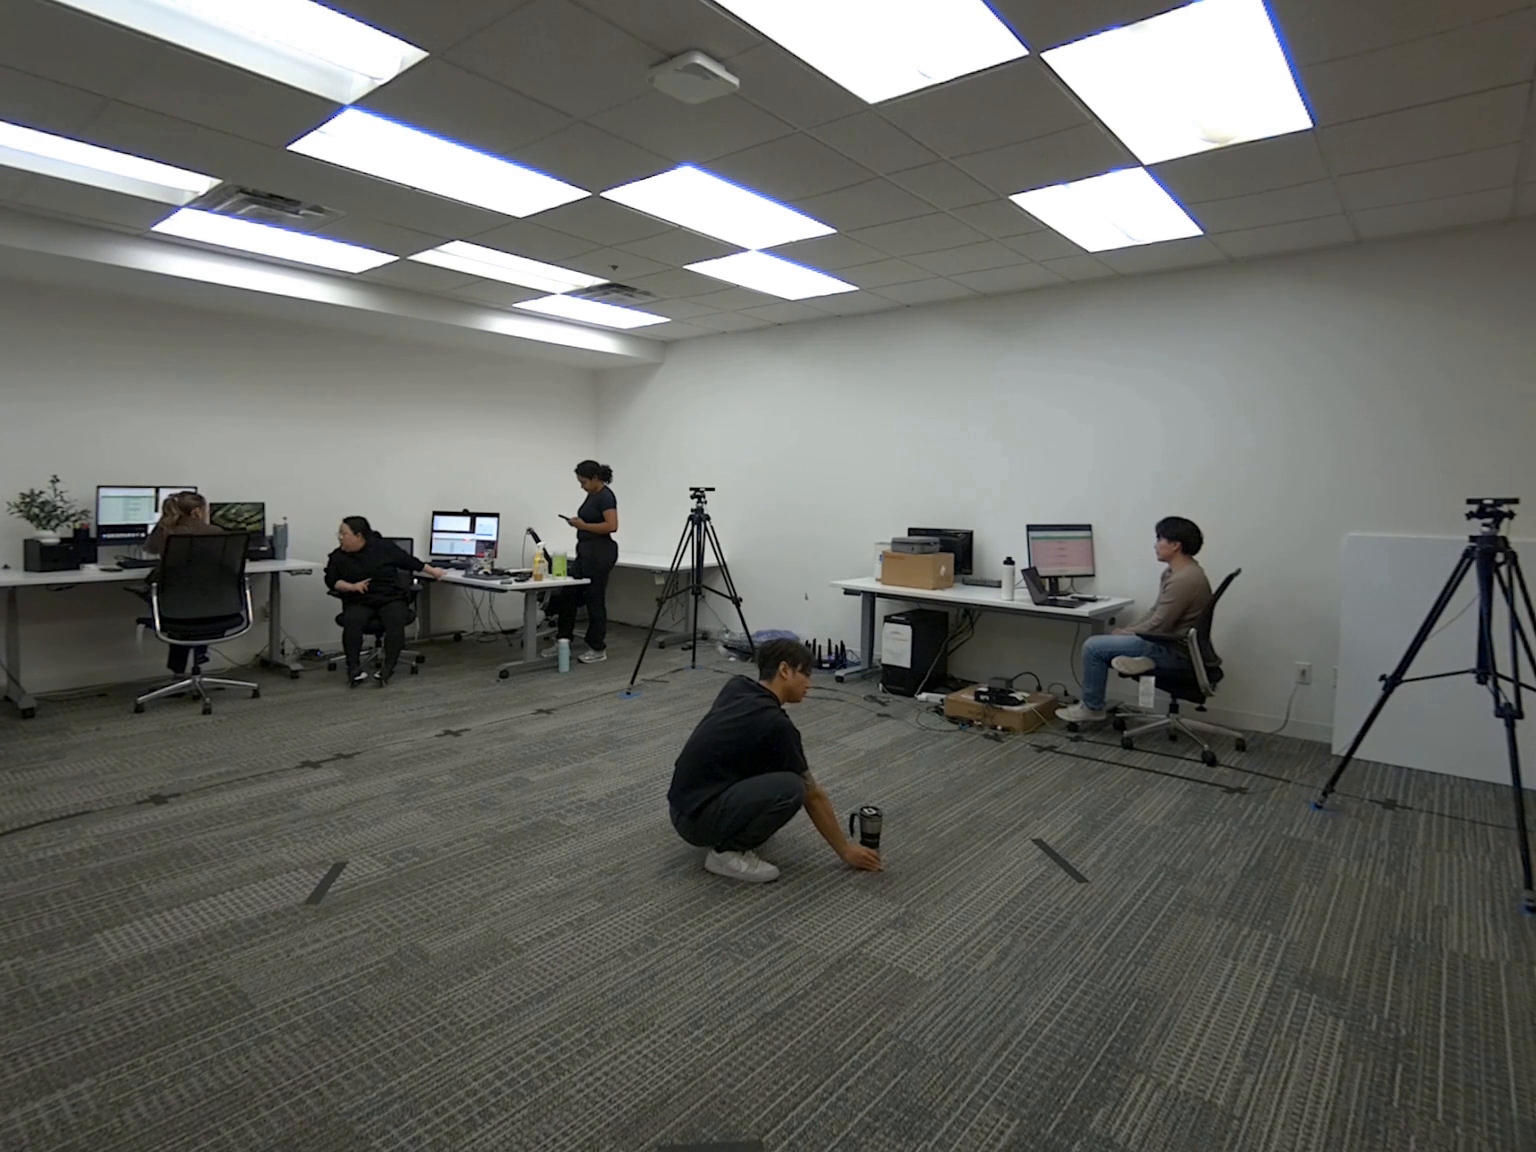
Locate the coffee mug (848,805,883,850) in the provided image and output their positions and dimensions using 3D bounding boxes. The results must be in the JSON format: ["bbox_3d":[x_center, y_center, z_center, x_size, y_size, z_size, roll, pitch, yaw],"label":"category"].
[{"bbox_3d":[0.360,0.978,3.188,0.126,0.201,0.085,8,10,38],"label":"coffee mug"}]
